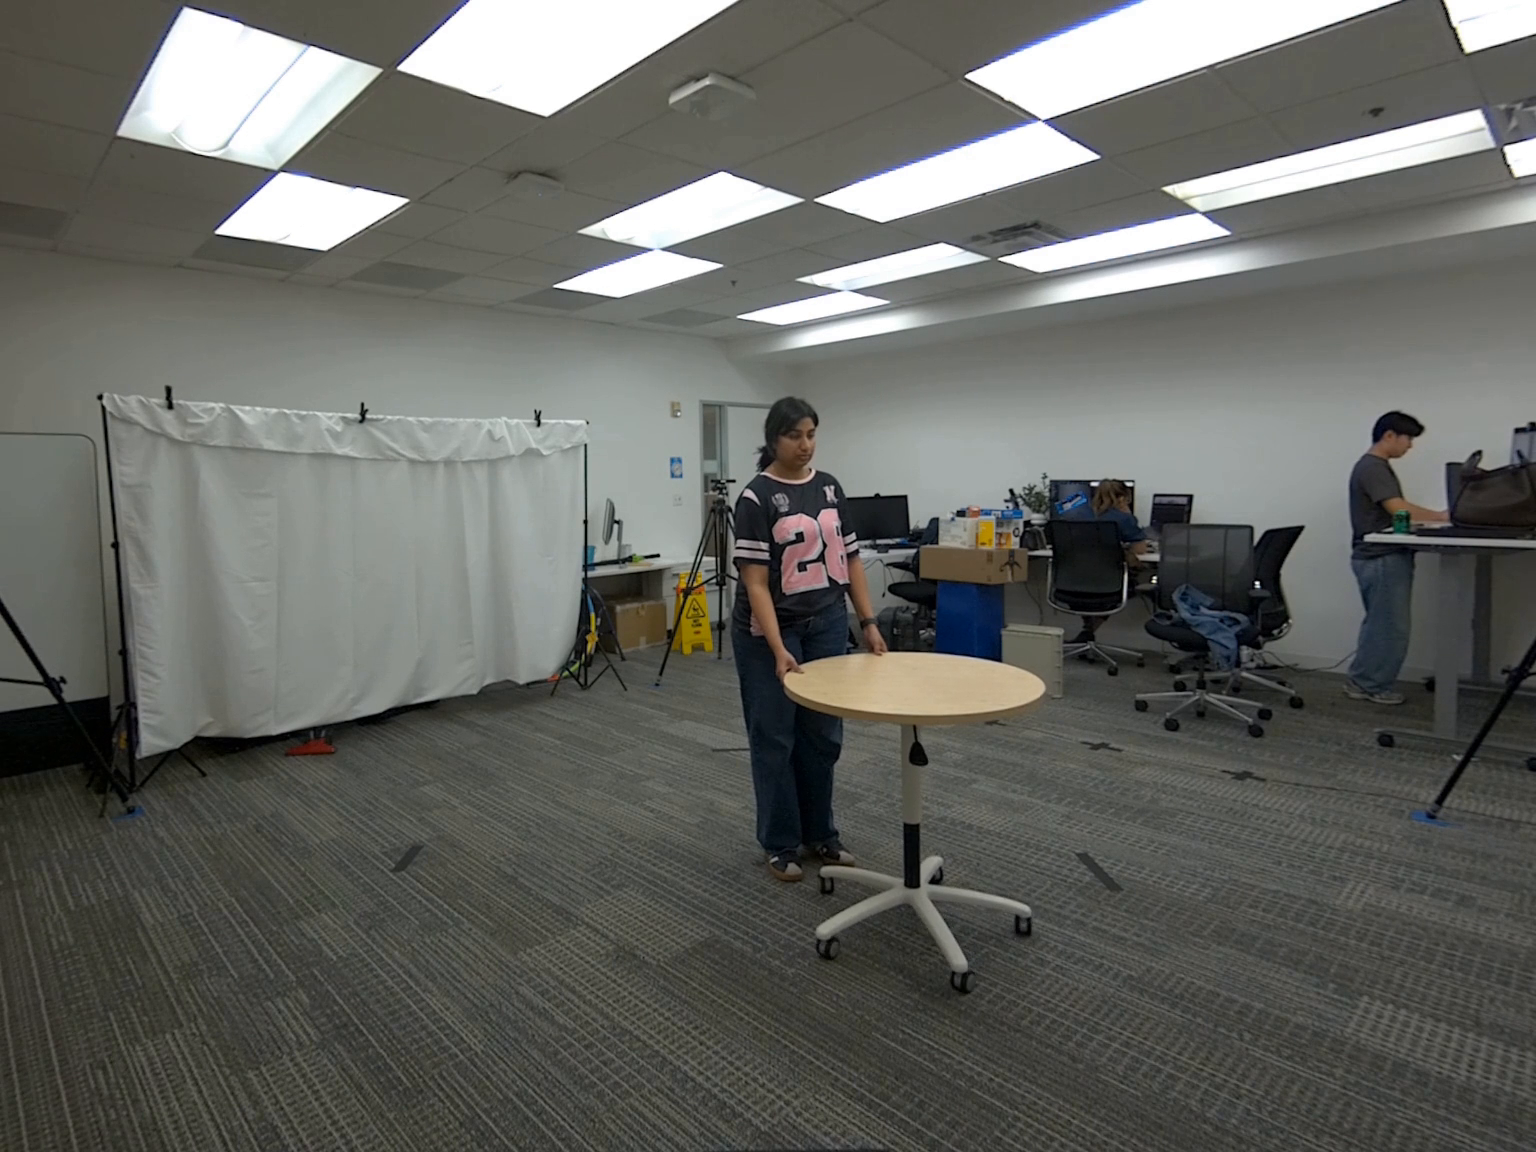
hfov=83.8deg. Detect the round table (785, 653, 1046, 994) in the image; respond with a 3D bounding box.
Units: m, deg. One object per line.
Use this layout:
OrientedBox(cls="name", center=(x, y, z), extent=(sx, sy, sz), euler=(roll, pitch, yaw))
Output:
OrientedBox(cls="round table", center=(0.434, 0.699, 2.624), extent=(0.784, 0.783, 0.789), euler=(-1, 5, -2))
